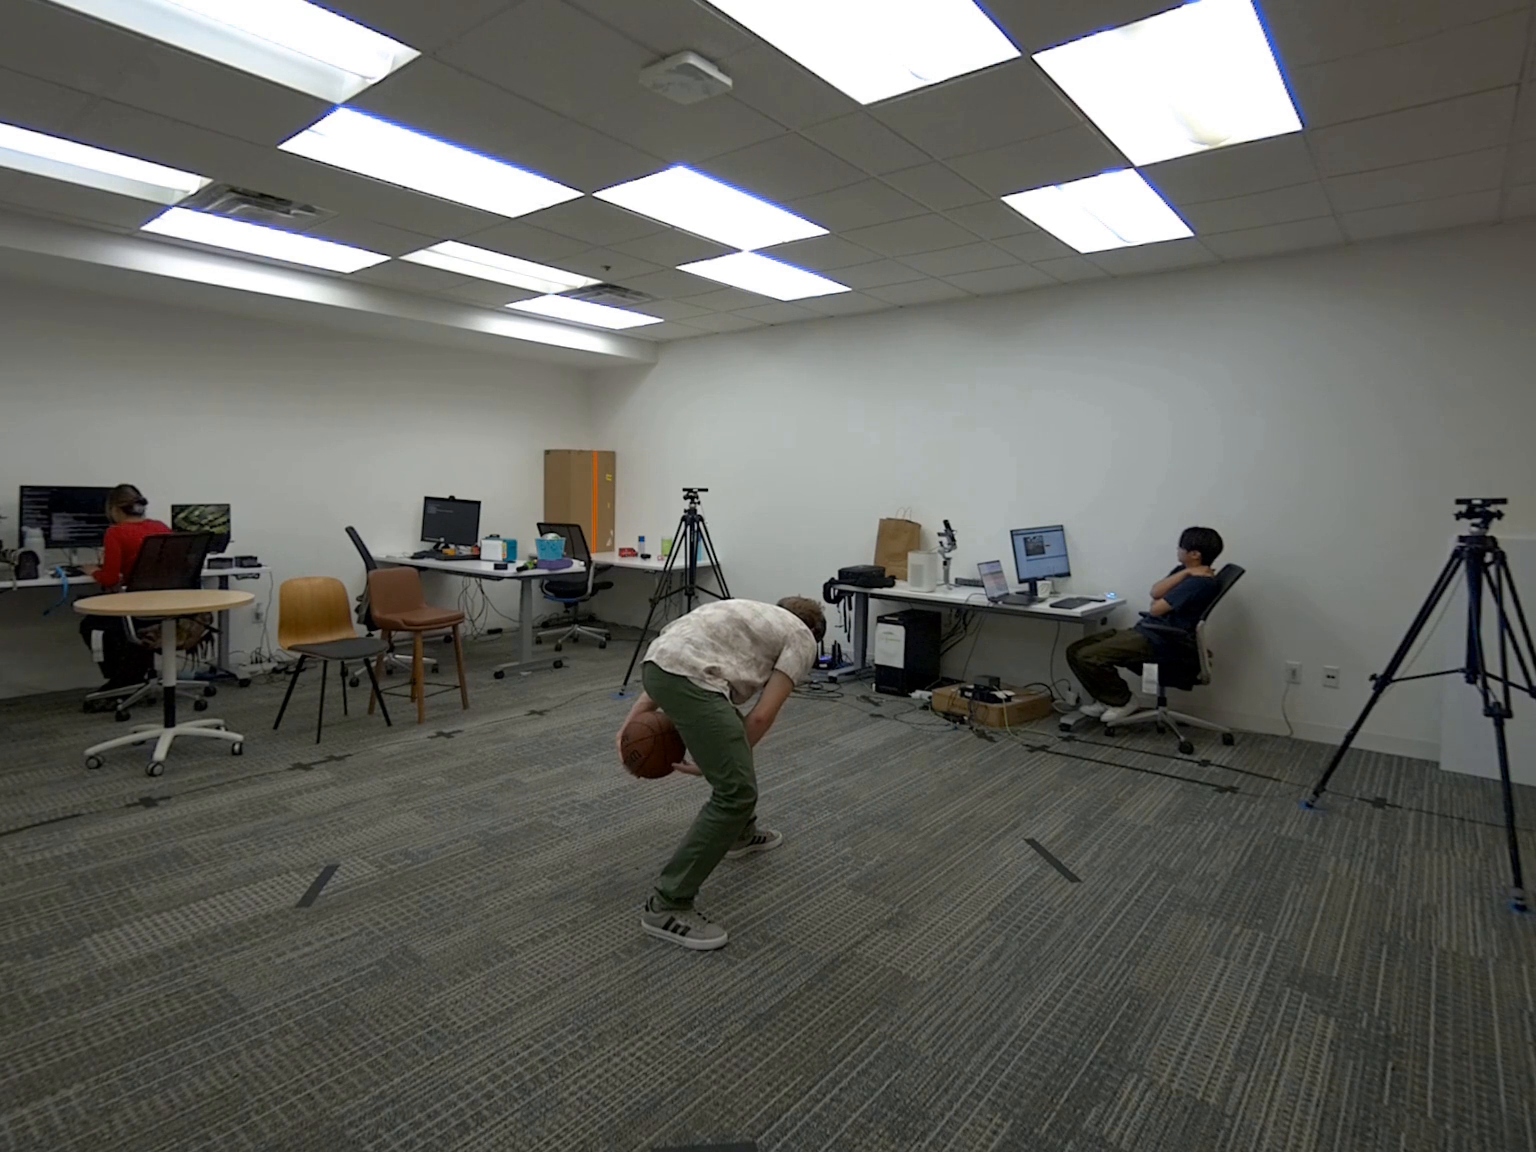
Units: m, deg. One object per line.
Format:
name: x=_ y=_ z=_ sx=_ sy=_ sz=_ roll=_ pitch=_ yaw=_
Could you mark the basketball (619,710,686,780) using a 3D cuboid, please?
basketball: x=-0.424 y=0.607 z=3.087 sx=0.235 sy=0.235 sz=0.237 roll=1 pitch=4 yaw=-2
